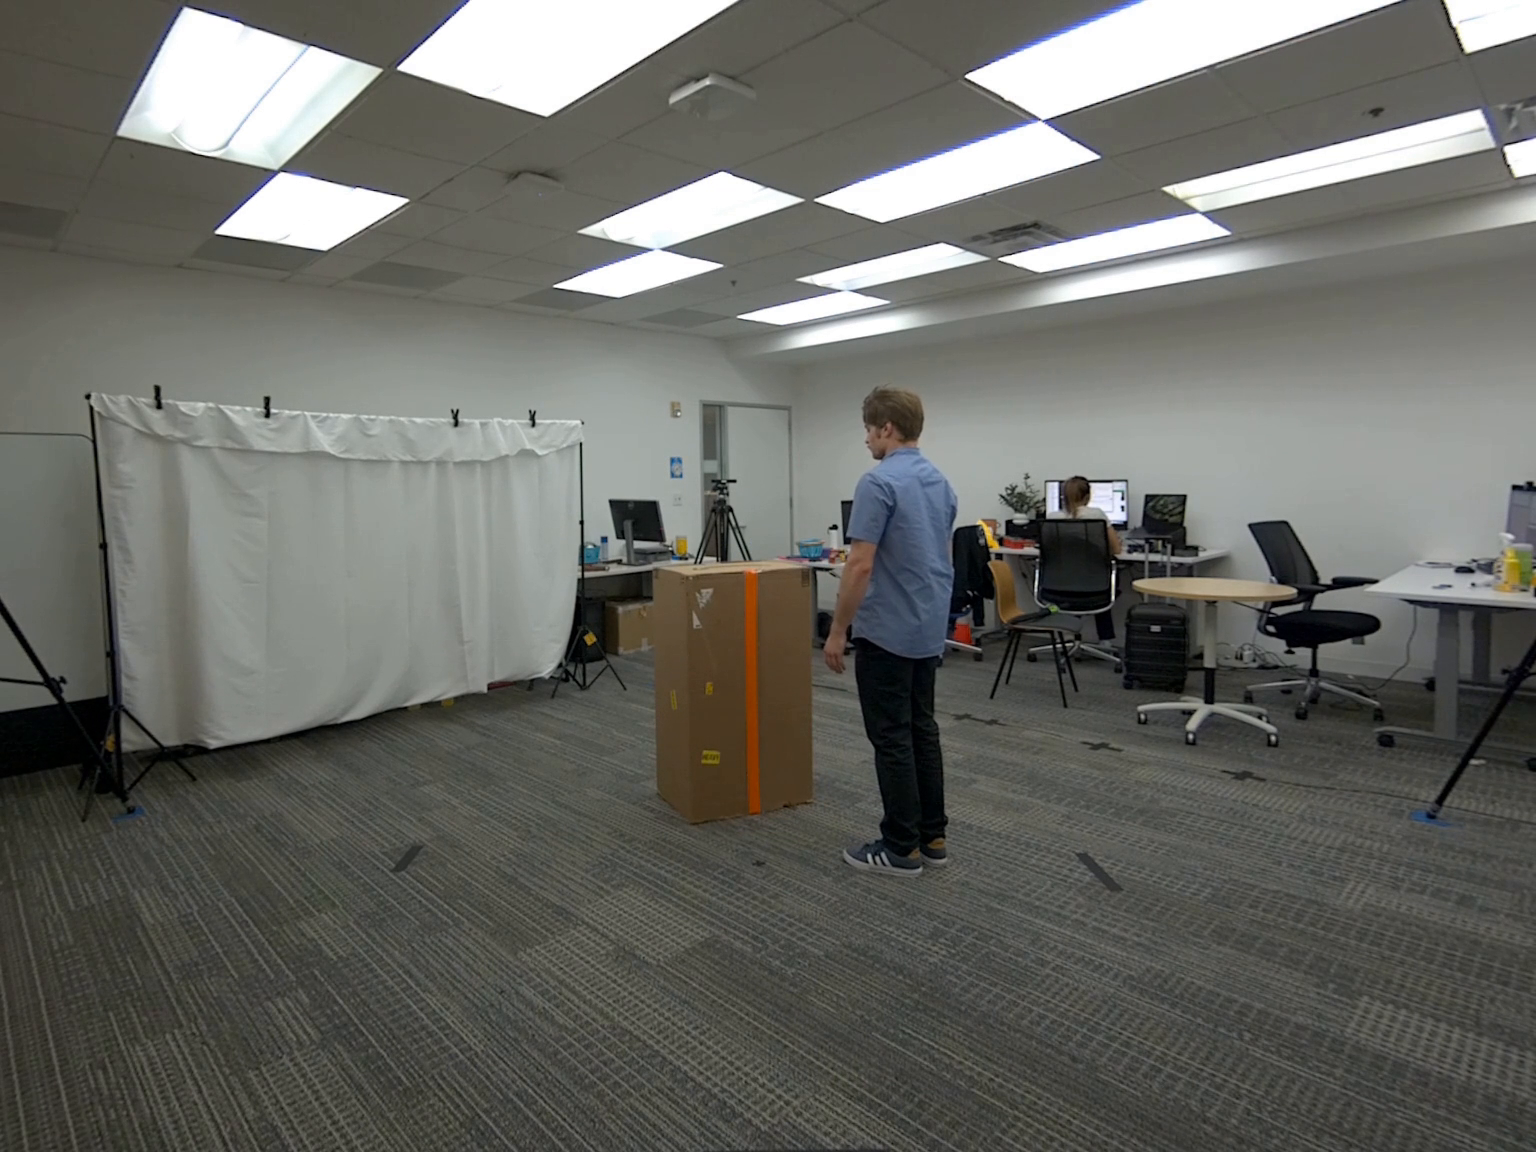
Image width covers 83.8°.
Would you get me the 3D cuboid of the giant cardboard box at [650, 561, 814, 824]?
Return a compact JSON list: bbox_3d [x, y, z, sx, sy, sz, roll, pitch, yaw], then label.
[{"bbox_3d":[-0.158,0.471,3.747,0.565,1.023,0.436,-3,4,-25],"label":"giant cardboard box"}]
